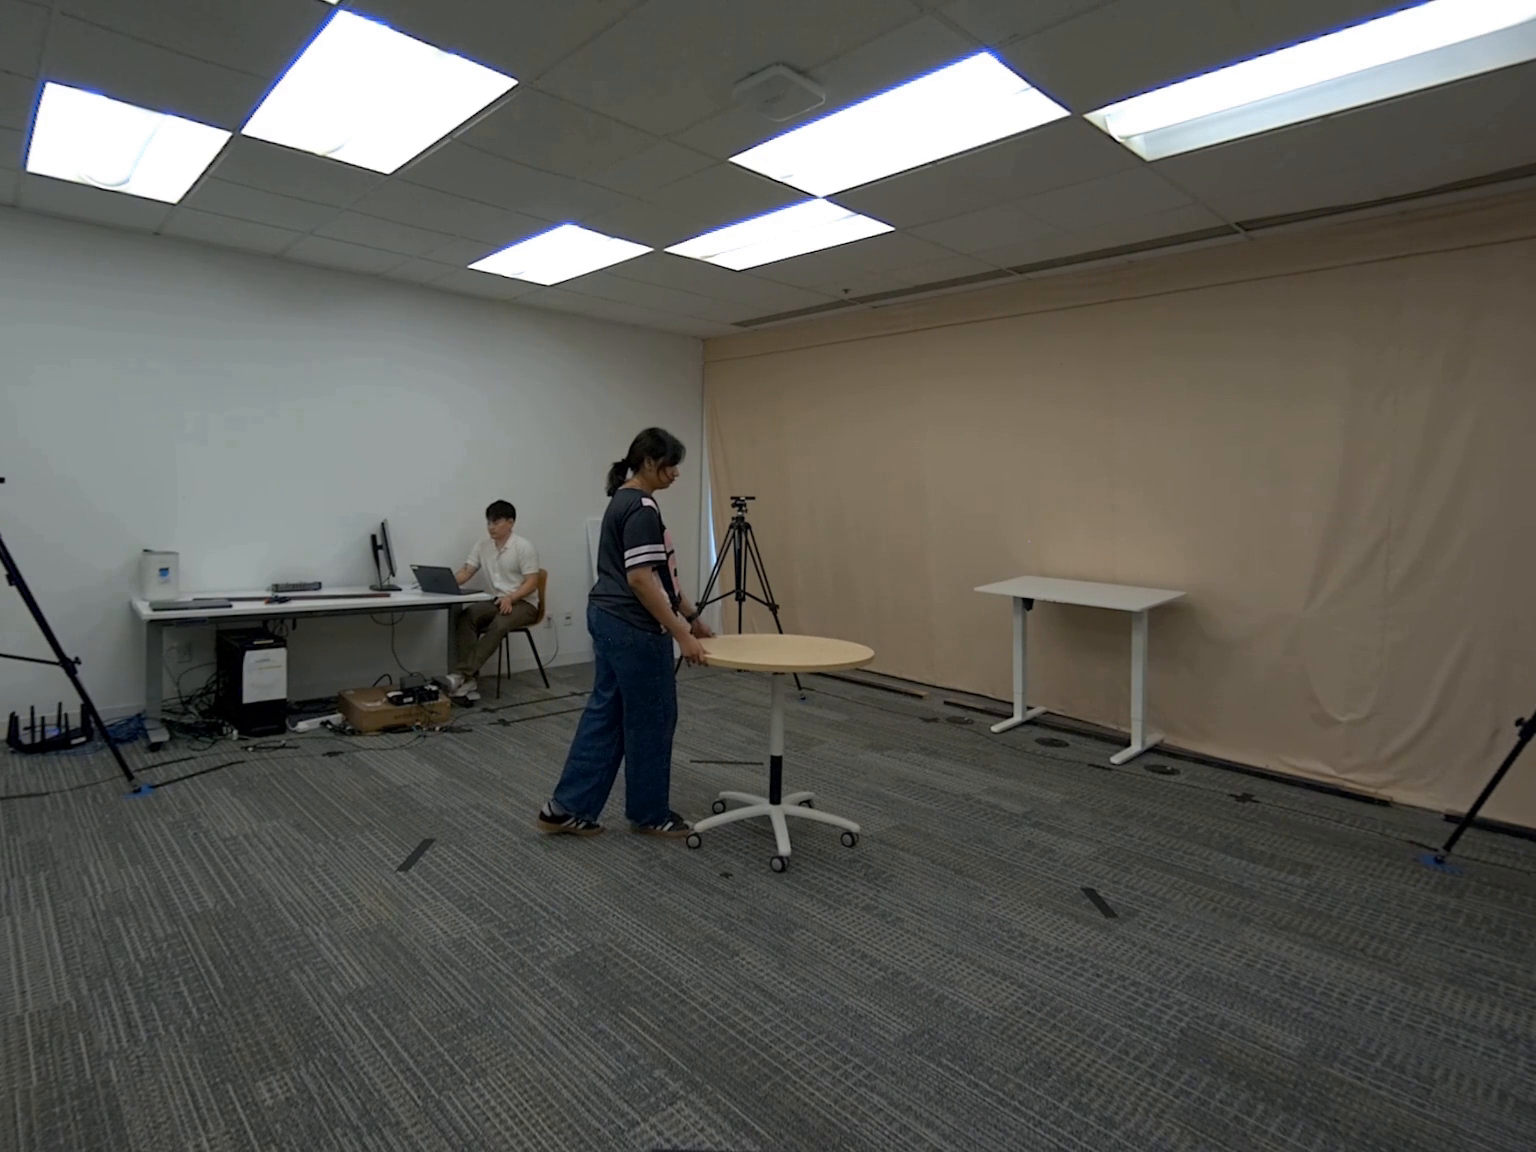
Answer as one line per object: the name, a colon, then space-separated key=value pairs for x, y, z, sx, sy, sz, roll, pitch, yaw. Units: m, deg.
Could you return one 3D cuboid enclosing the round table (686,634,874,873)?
round table: x=0.028 y=0.690 z=3.454 sx=0.763 sy=0.792 sz=0.766 roll=1 pitch=3 yaw=-1
